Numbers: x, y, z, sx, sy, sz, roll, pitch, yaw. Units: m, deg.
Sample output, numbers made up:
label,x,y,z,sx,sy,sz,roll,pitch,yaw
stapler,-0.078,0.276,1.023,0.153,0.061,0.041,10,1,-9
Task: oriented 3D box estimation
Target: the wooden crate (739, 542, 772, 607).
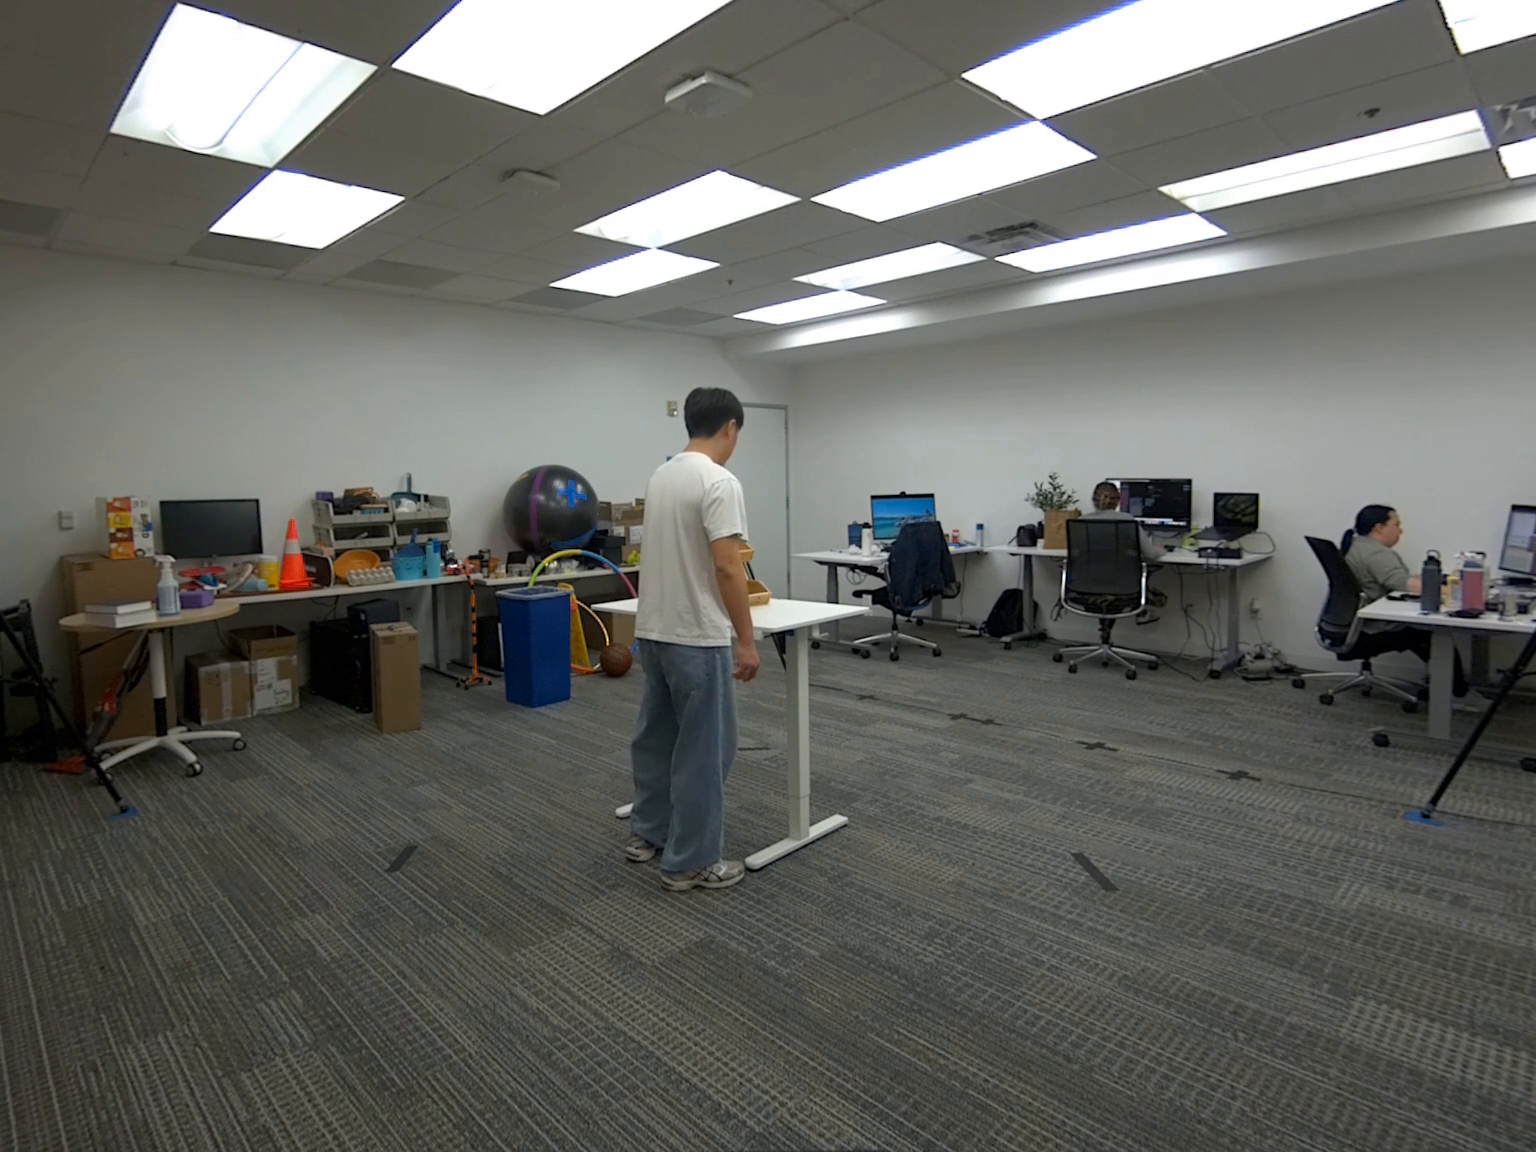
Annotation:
label,x,y,z,sx,sy,sz,roll,pitch,yaw
wooden crate,-0.195,-0.012,3.503,0.311,0.272,0.316,2,6,45
